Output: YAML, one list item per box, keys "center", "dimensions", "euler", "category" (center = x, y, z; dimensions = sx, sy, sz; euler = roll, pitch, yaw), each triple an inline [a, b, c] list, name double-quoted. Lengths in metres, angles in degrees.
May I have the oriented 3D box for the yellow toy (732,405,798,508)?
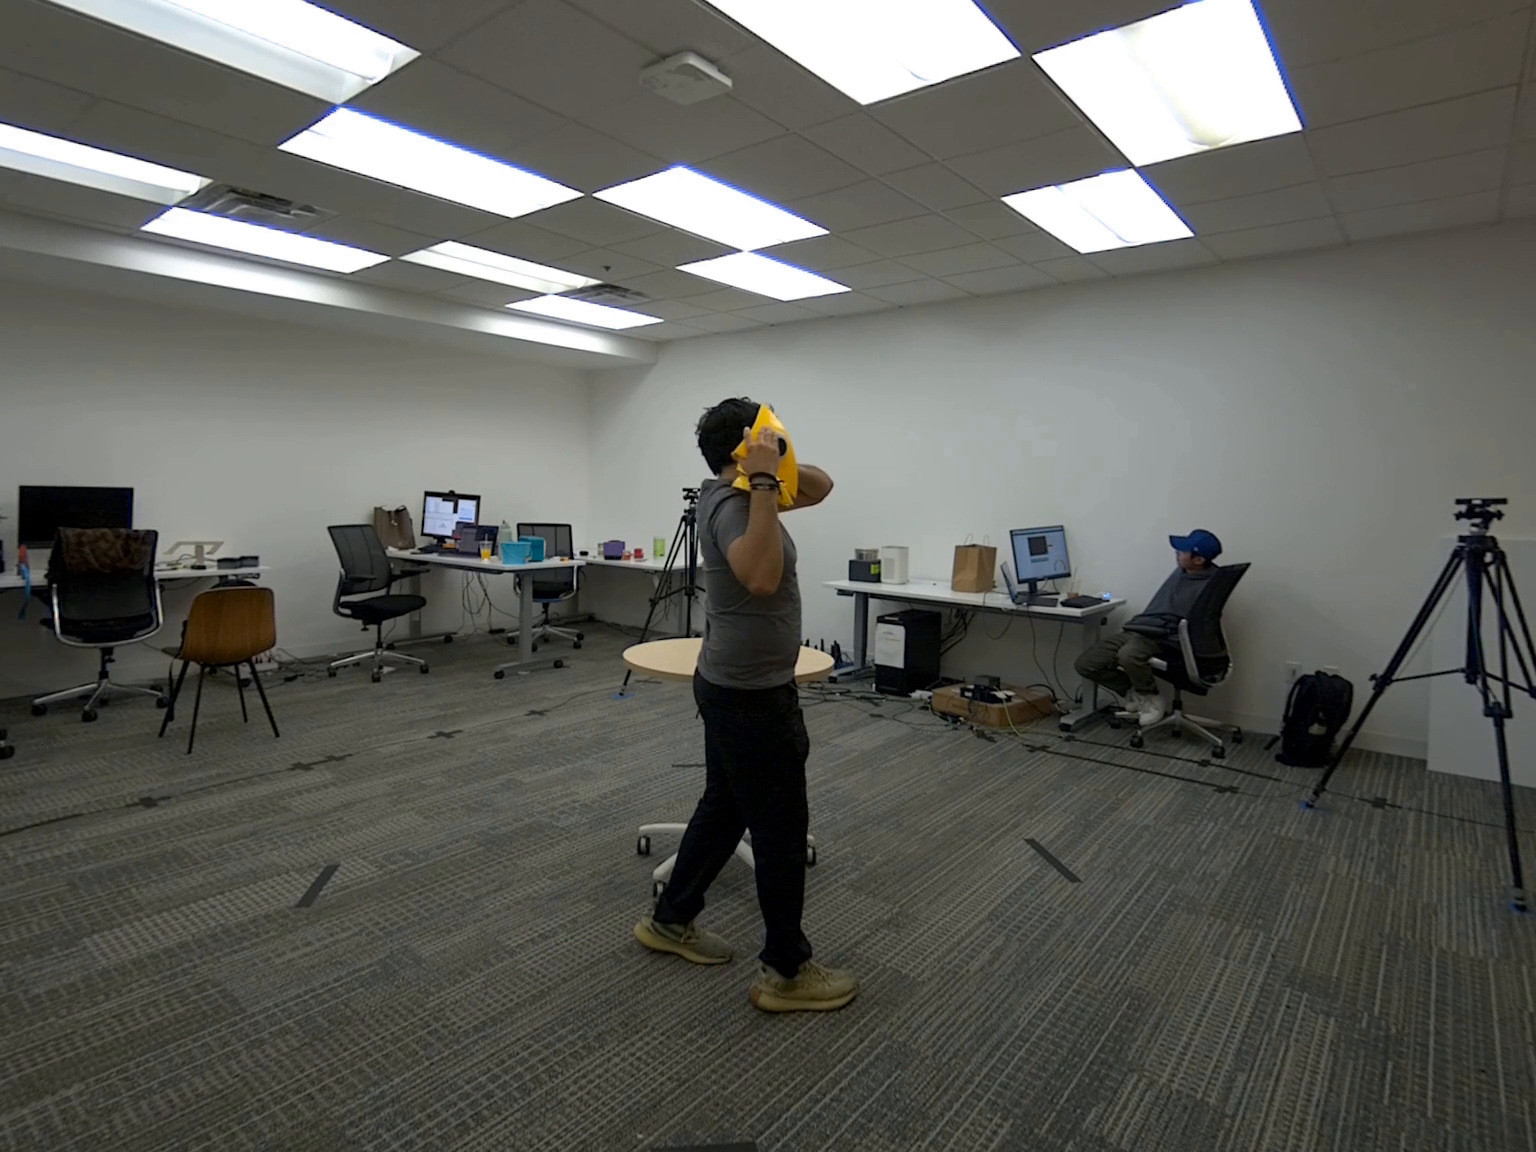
- center: [0.001, -0.323, 2.206]
  dimensions: [0.193, 0.230, 0.205]
  euler: [18, 1, -2]
  category: "yellow toy"
